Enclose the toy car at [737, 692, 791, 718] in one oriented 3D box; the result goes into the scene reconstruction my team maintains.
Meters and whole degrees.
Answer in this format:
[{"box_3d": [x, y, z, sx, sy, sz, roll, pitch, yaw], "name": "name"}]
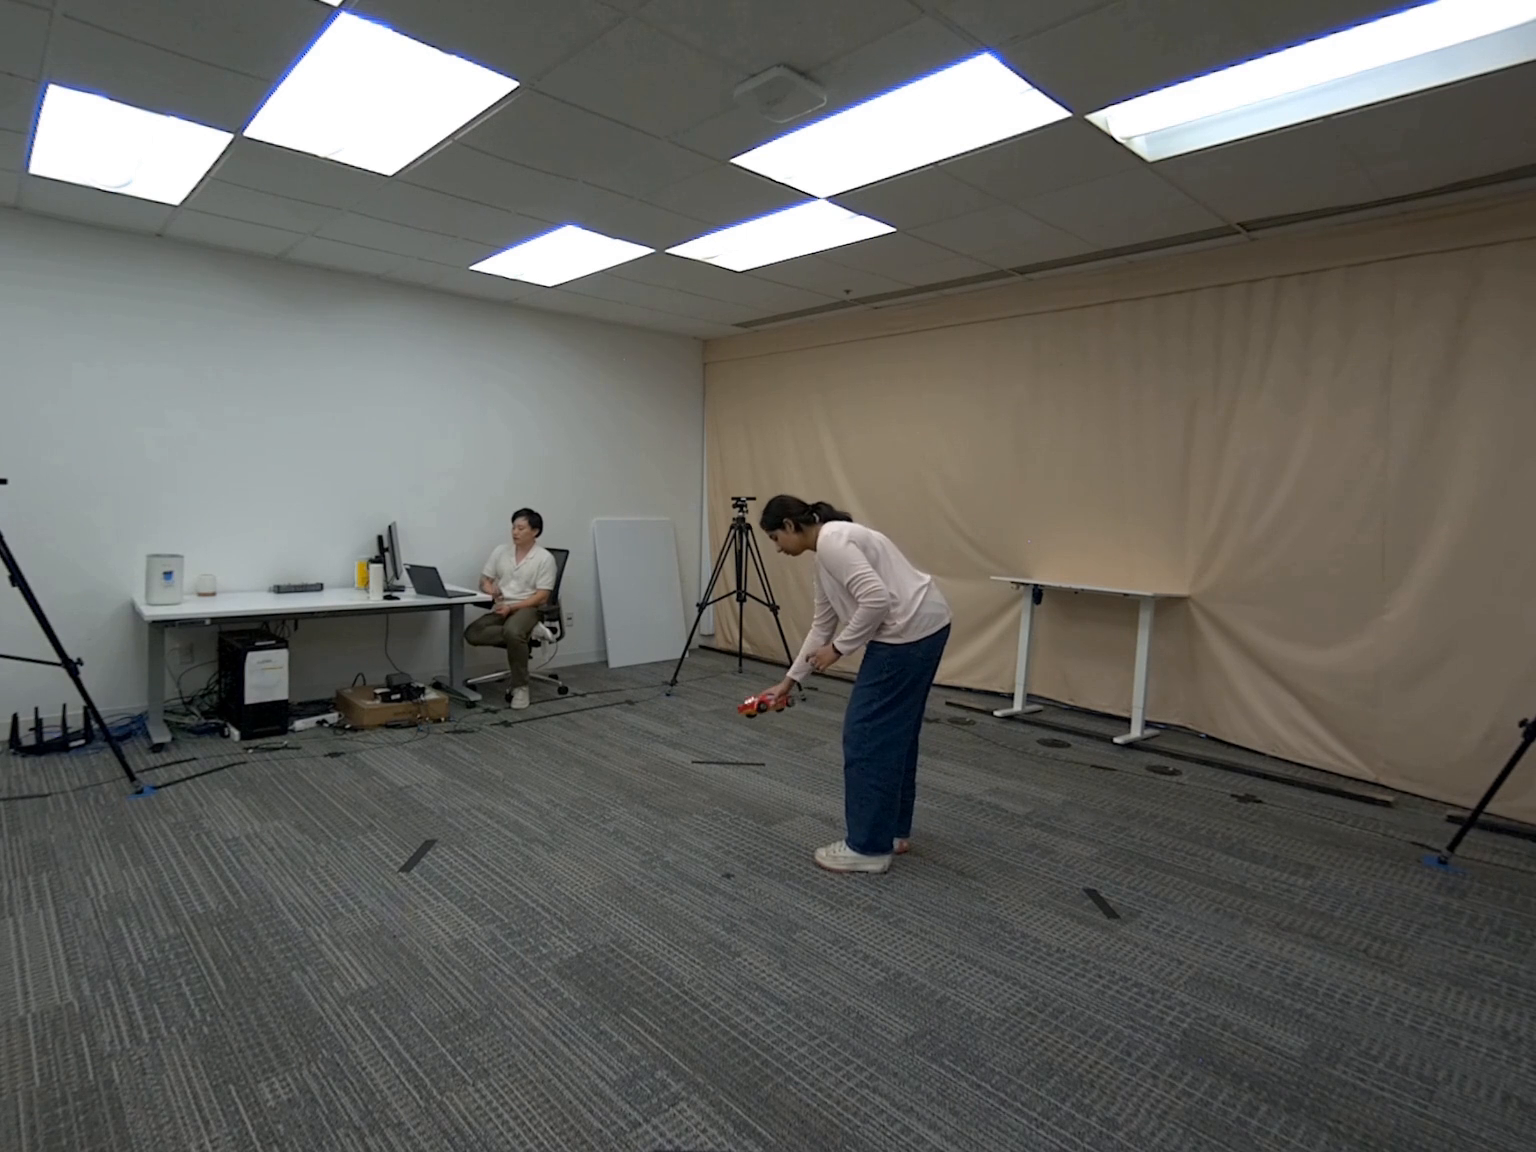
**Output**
[{"box_3d": [-0.018, 0.537, 3.509, 0.249, 0.085, 0.131, 7, -26, -27], "name": "toy car"}]
